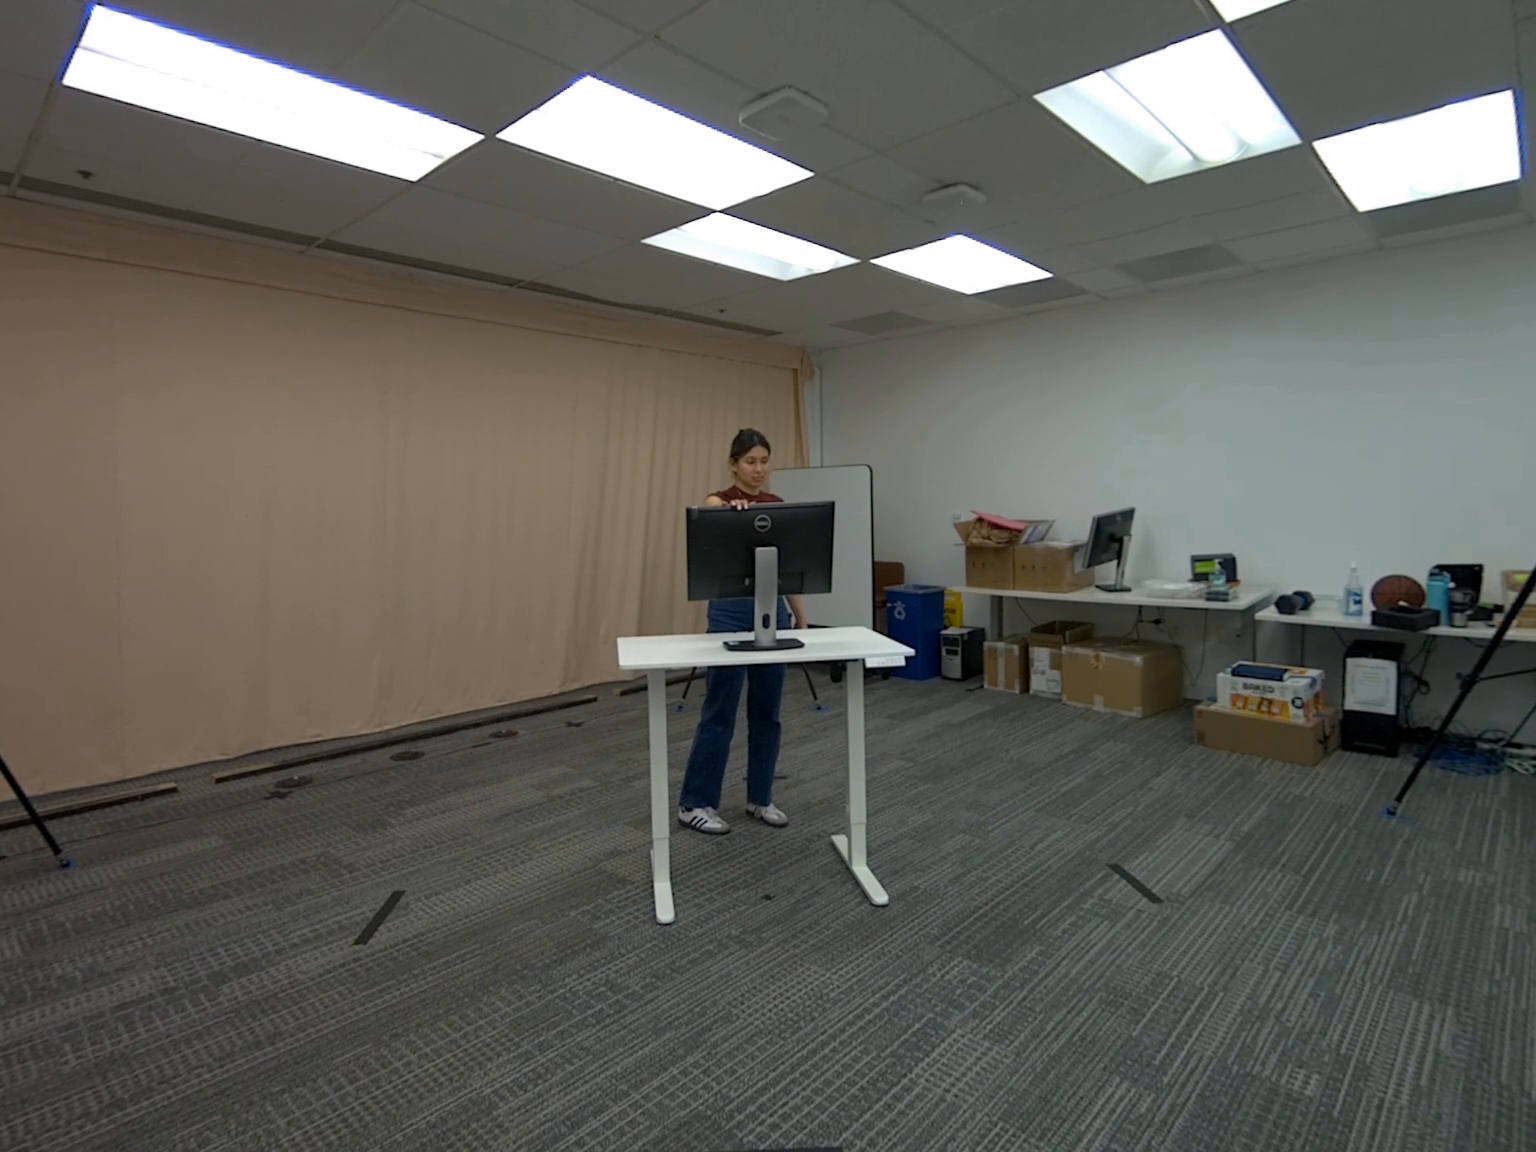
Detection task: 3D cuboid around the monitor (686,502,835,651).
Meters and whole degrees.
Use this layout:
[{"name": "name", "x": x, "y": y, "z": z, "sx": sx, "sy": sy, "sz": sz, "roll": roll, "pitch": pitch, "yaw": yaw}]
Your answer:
[{"name": "monitor", "x": -0.015, "y": 0.004, "z": 2.999, "sx": 0.534, "sy": 0.521, "sz": 0.190, "roll": -2, "pitch": 5, "yaw": -10}]
